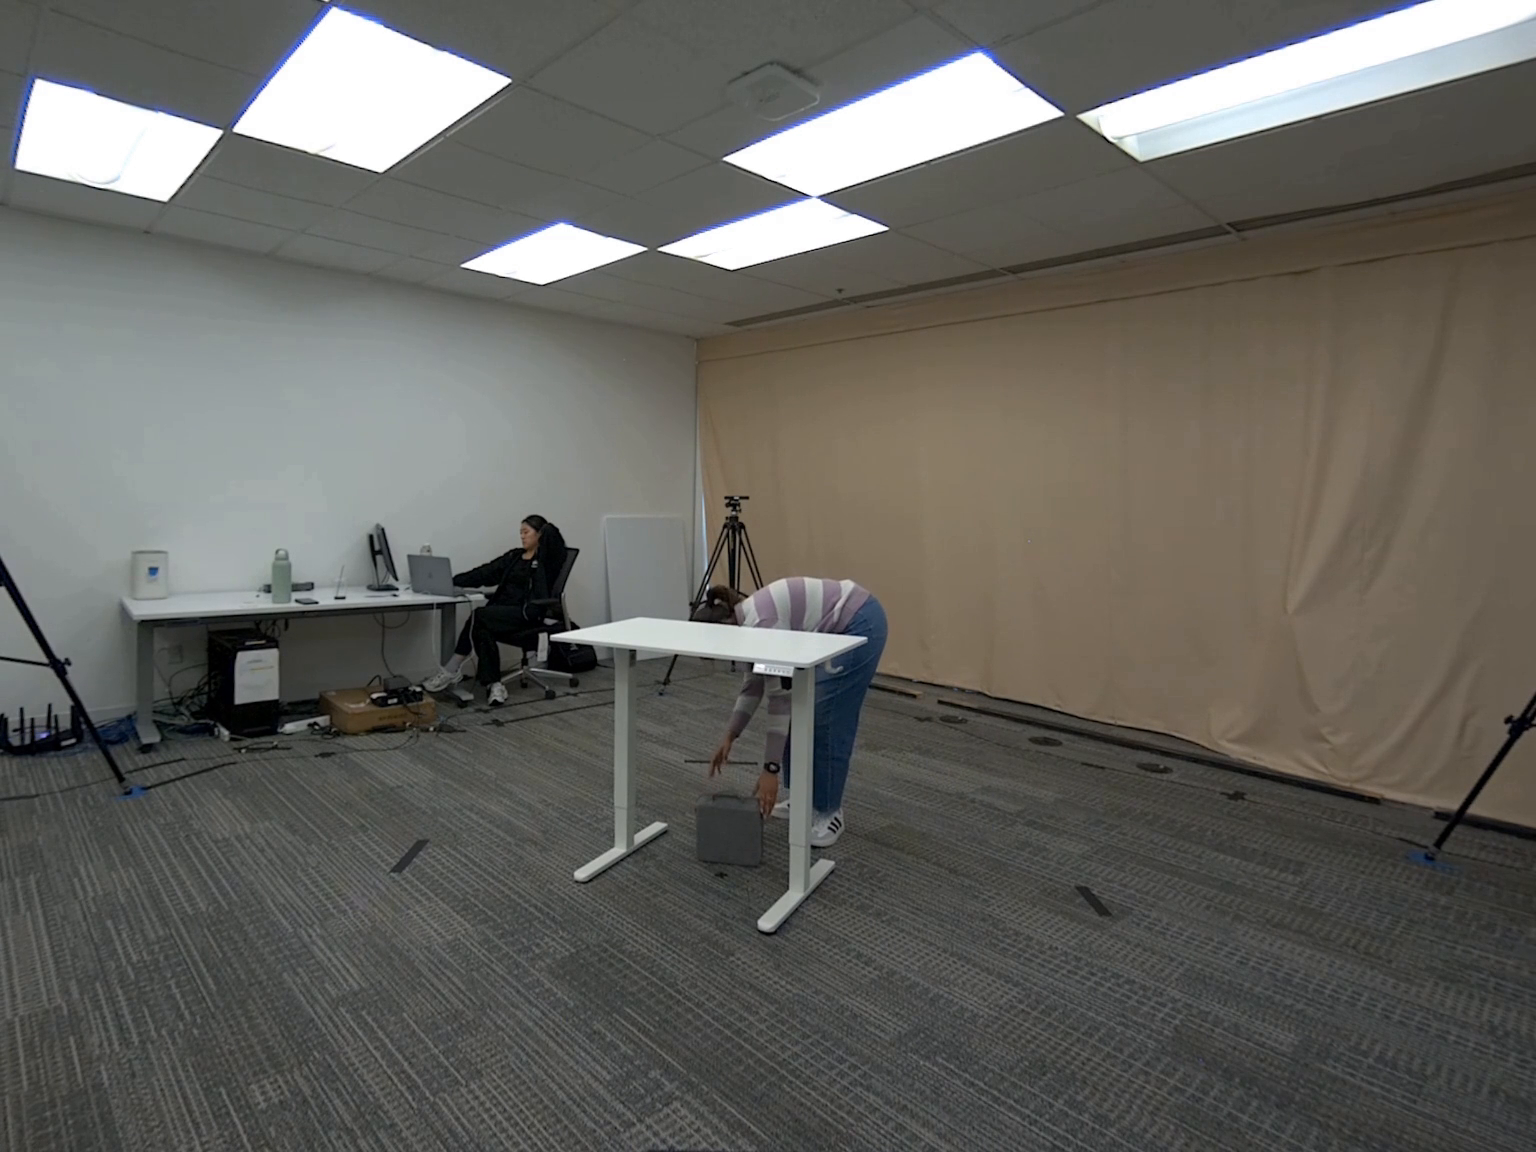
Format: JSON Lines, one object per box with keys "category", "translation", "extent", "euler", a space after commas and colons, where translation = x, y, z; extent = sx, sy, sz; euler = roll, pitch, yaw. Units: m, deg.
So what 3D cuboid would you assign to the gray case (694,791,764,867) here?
{"category": "gray case", "translation": [-0.145, 0.960, 3.210], "extent": [0.259, 0.258, 0.104], "euler": [2, 11, 9]}
